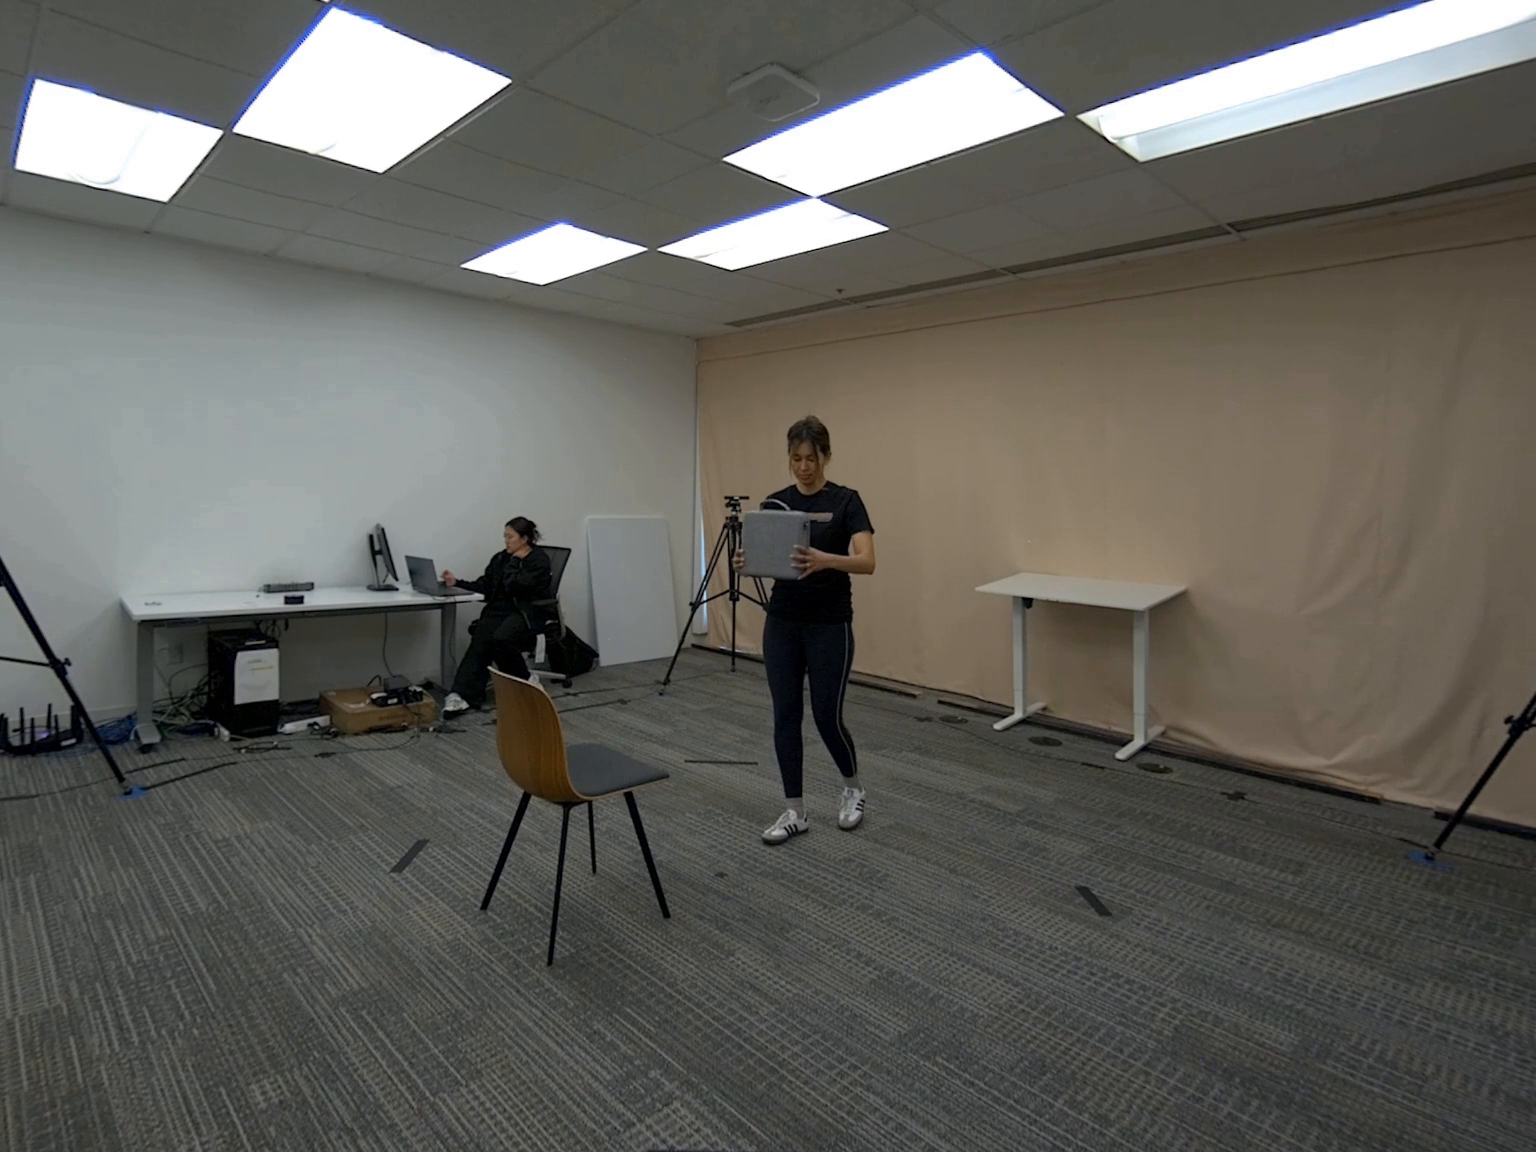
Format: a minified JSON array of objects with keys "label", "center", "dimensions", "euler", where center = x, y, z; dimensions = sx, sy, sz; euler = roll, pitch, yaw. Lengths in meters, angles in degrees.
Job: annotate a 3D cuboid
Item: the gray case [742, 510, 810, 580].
[{"label":"gray case","center":[0.018,-0.122,3.165],"dimensions":[0.262,0.260,0.102],"euler":[3,4,30]}]
